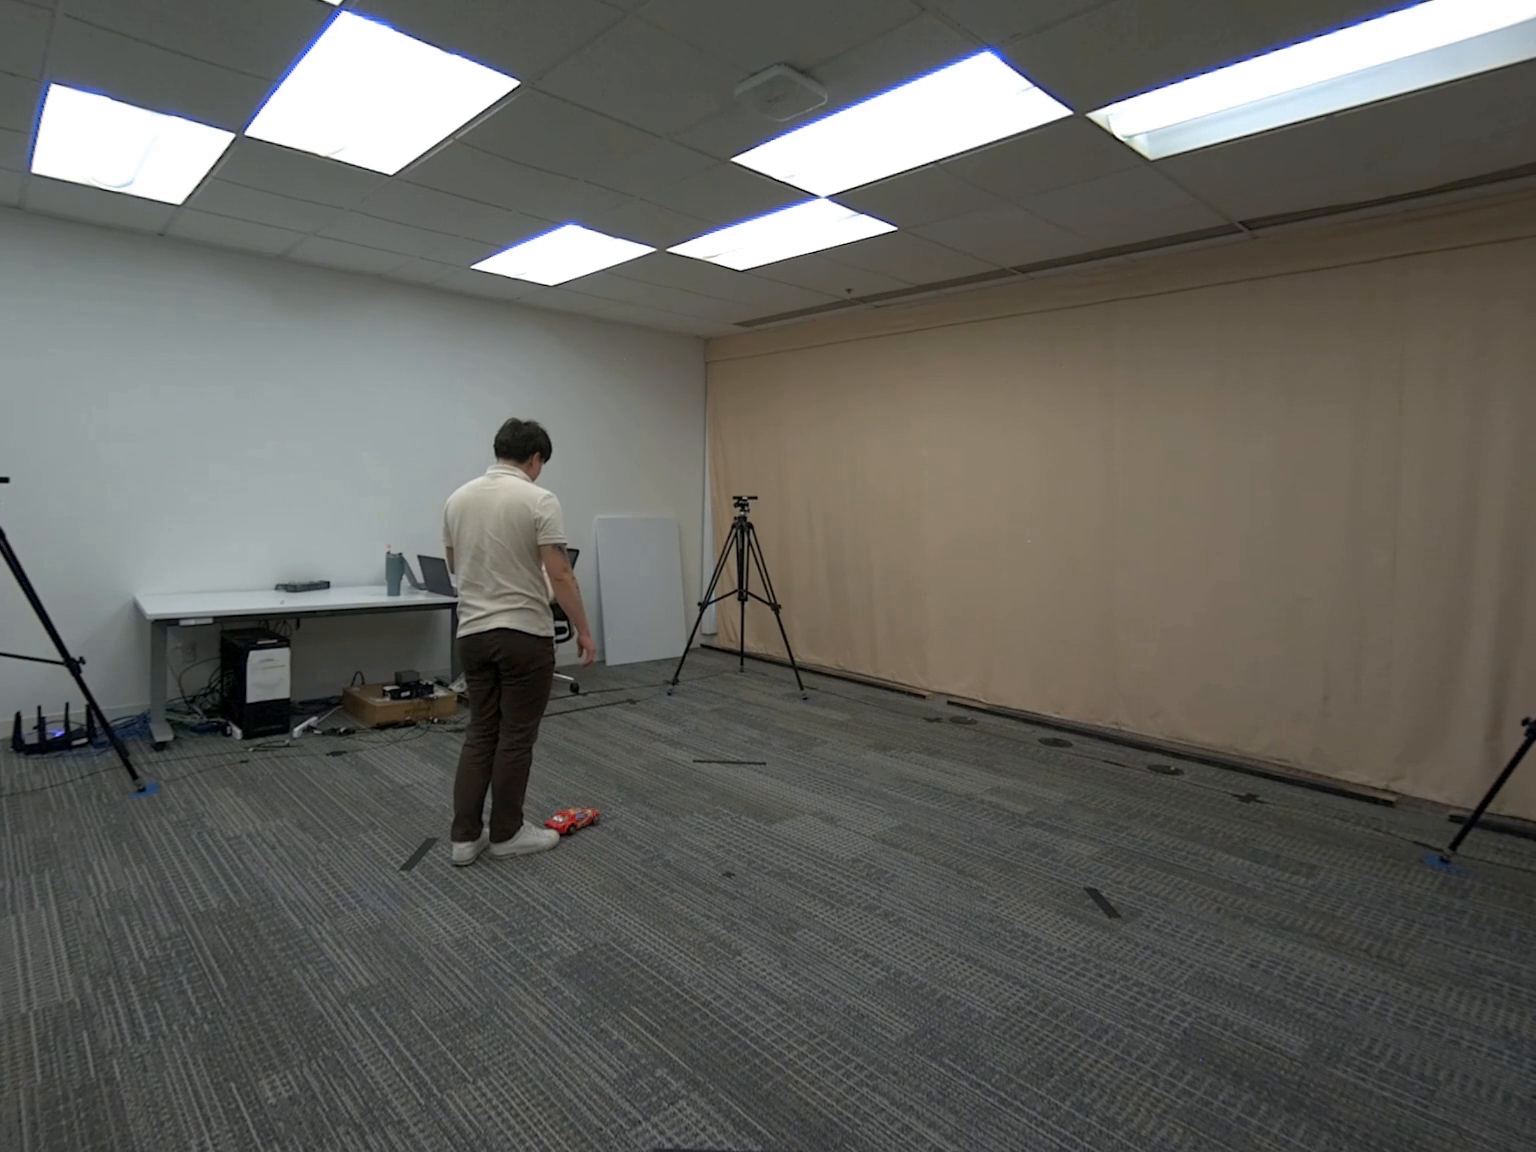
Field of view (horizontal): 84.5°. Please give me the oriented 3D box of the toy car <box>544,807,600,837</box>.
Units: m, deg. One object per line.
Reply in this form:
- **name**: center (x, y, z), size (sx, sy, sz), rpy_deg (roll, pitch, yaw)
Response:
- **toy car**: center (-0.829, 1.021, 3.500), size (0.133, 0.083, 0.248), rpy_deg (5, -4, 34)
